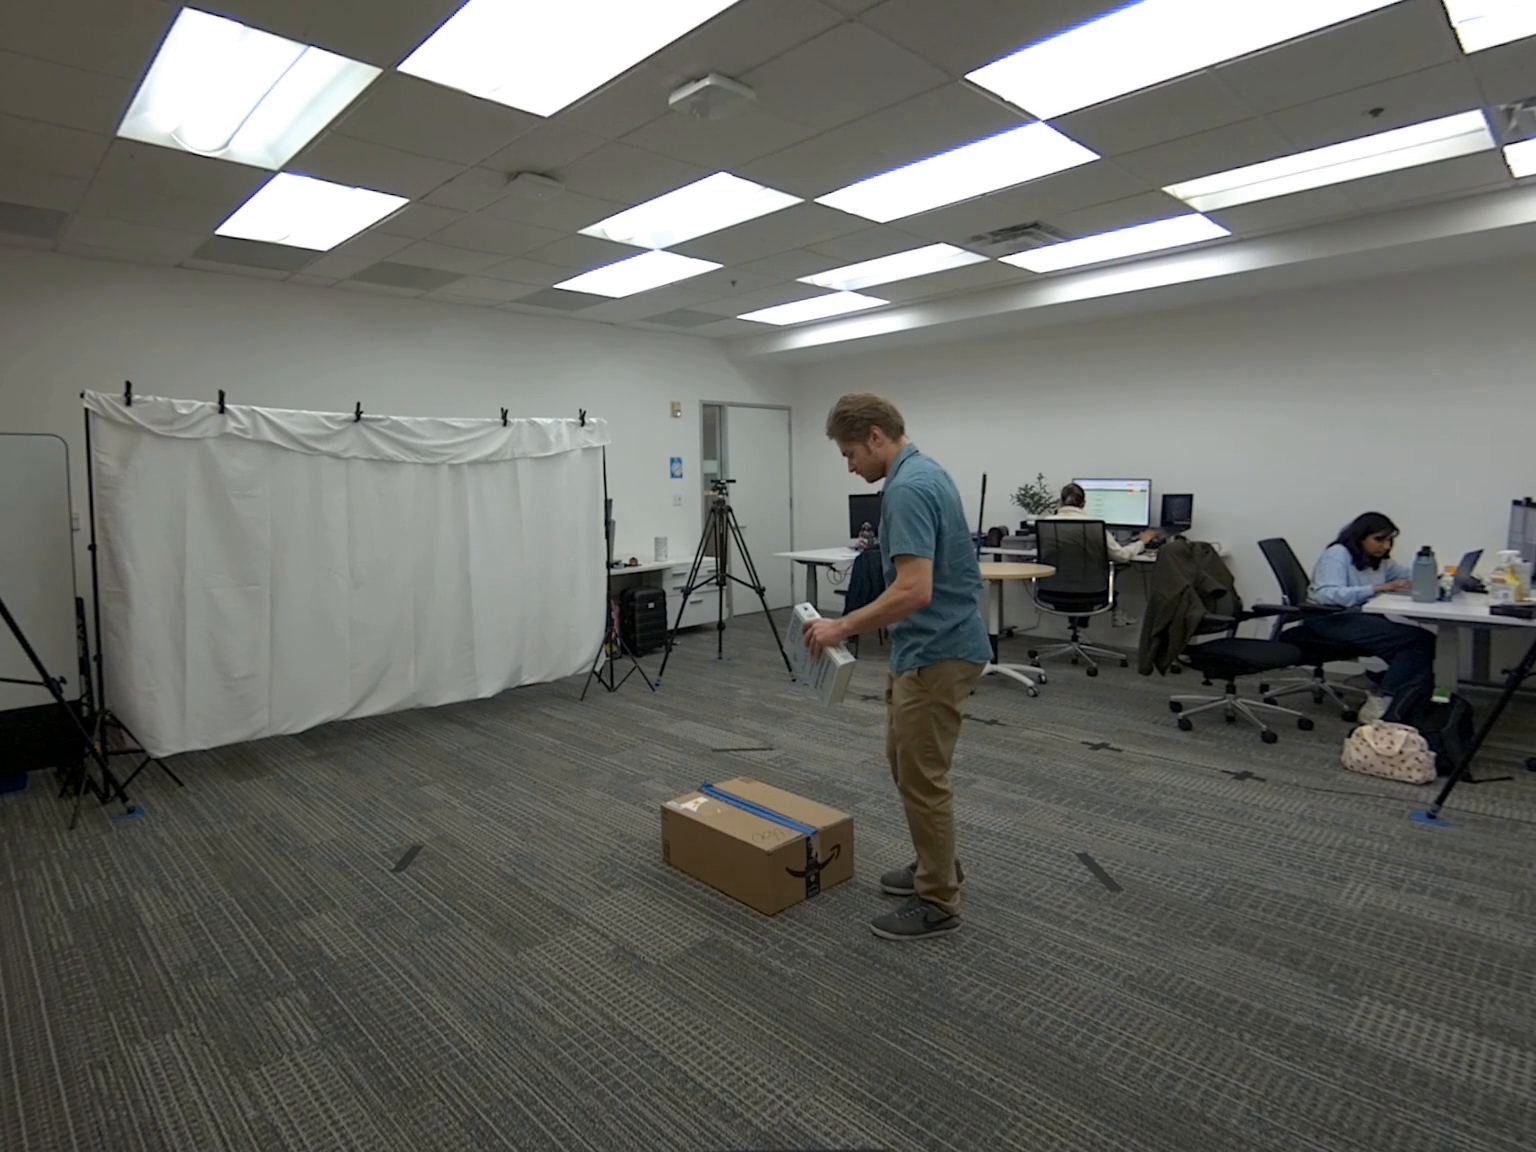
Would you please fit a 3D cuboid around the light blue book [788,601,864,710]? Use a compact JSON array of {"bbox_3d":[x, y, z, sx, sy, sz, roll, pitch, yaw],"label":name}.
[{"bbox_3d":[0.169,0.237,2.588,0.058,0.187,0.271,-9,42,-27],"label":"light blue book"}]
